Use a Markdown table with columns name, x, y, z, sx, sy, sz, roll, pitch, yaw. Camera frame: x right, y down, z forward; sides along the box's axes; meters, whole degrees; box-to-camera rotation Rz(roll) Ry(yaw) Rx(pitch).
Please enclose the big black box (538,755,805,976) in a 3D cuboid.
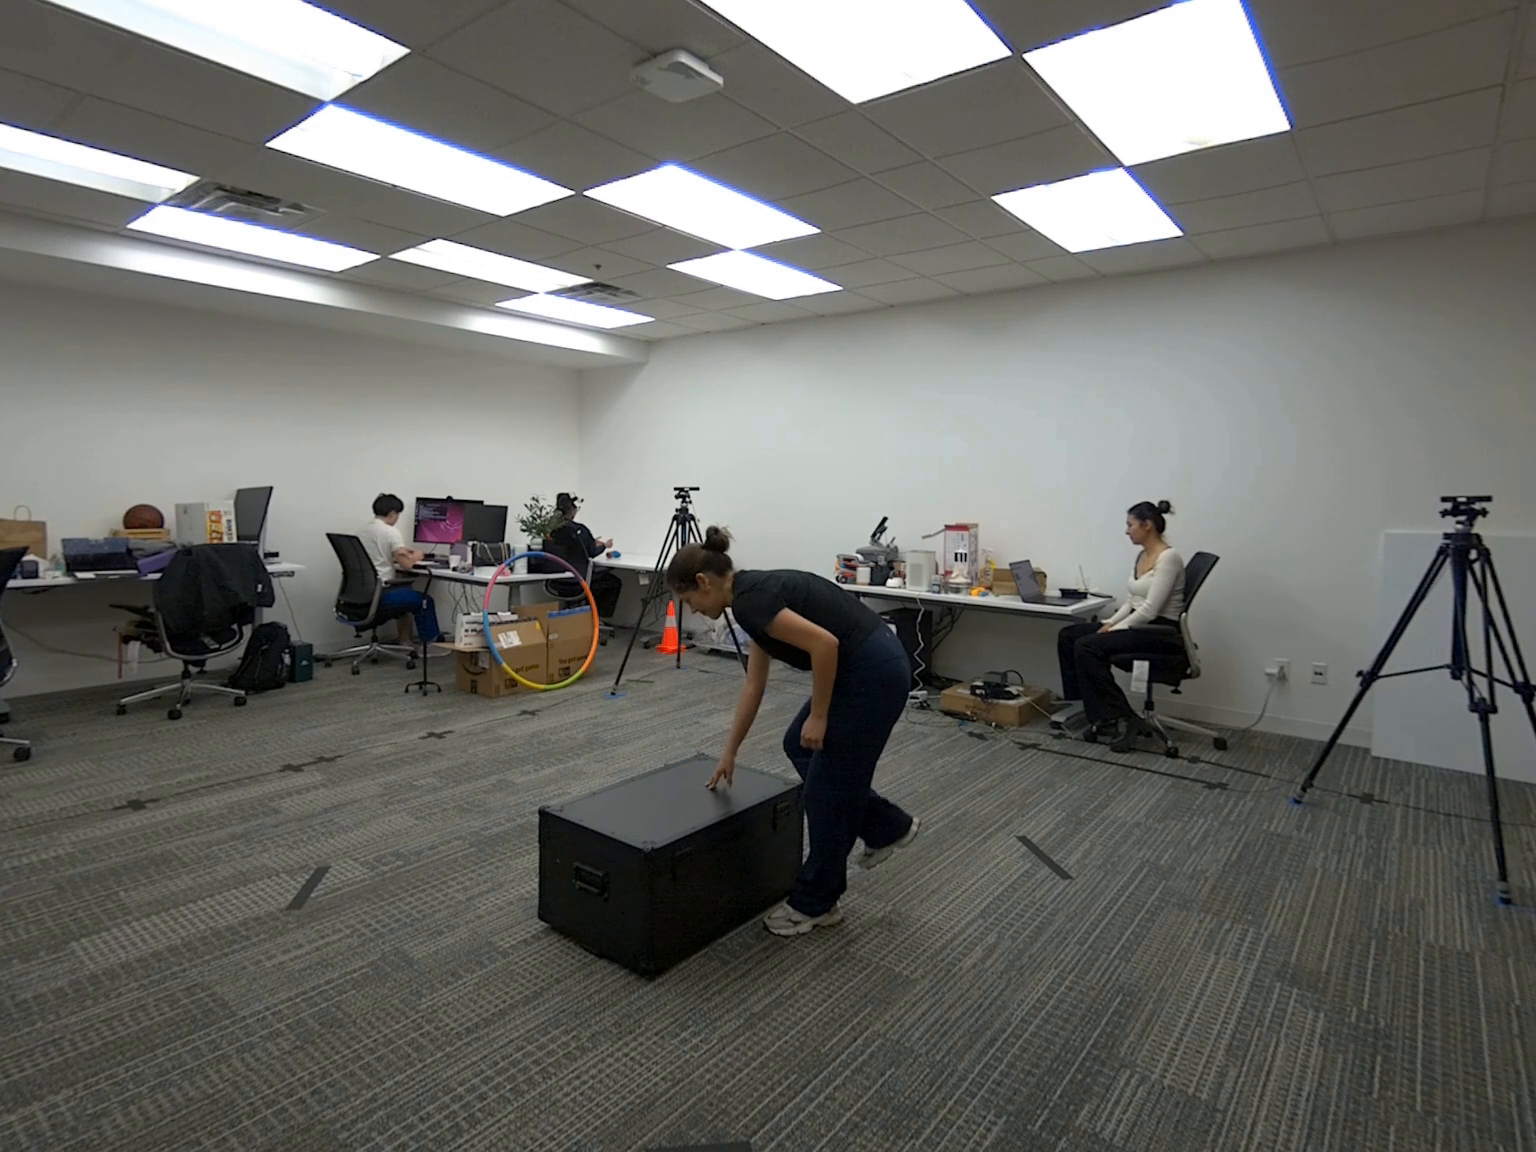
| name | x | y | z | sx | sy | sz | roll | pitch | yaw |
| --- | --- | --- | --- | --- | --- | --- | --- | --- | --- |
| big black box | -0.273 | 0.882 | 2.852 | 0.539 | 0.395 | 0.836 | 5 | 5 | 38 |
